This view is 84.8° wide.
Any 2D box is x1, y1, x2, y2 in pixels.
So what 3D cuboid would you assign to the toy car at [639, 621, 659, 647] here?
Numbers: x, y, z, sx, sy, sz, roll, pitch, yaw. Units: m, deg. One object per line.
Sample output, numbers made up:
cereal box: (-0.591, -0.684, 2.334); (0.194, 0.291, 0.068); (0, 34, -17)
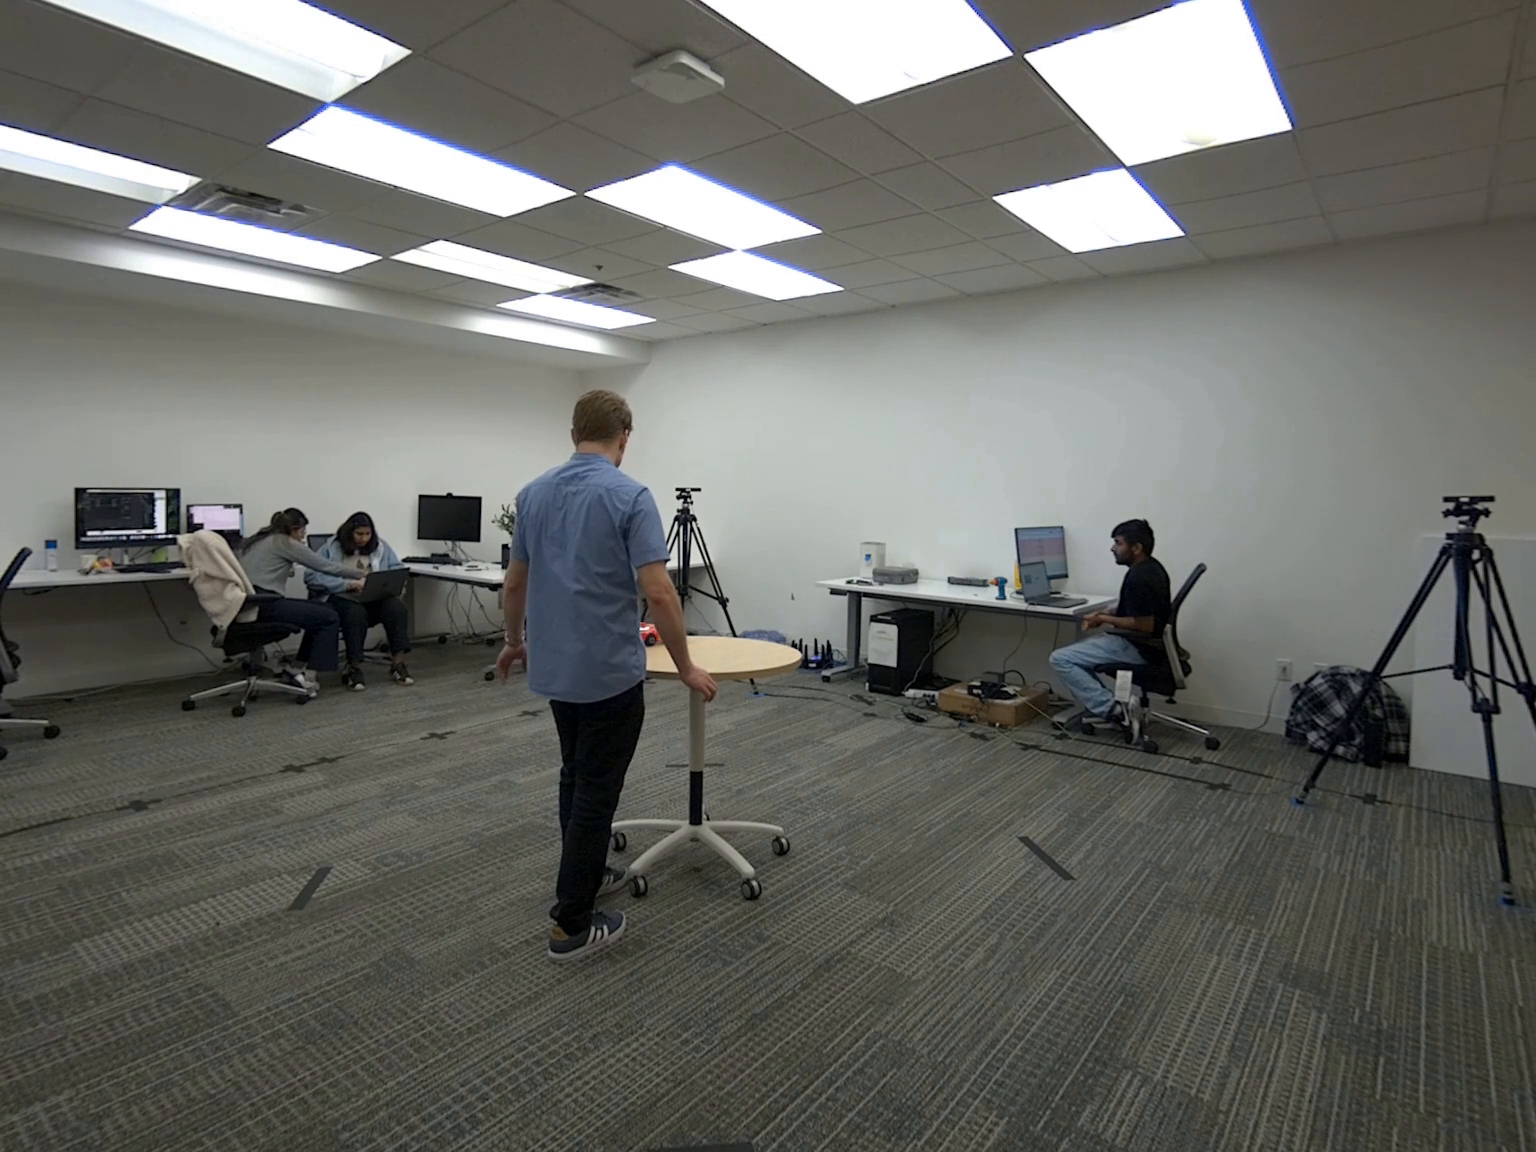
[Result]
toy car: (-0.456, 0.229, 3.334); (0.245, 0.083, 0.134); (11, -4, -39)
